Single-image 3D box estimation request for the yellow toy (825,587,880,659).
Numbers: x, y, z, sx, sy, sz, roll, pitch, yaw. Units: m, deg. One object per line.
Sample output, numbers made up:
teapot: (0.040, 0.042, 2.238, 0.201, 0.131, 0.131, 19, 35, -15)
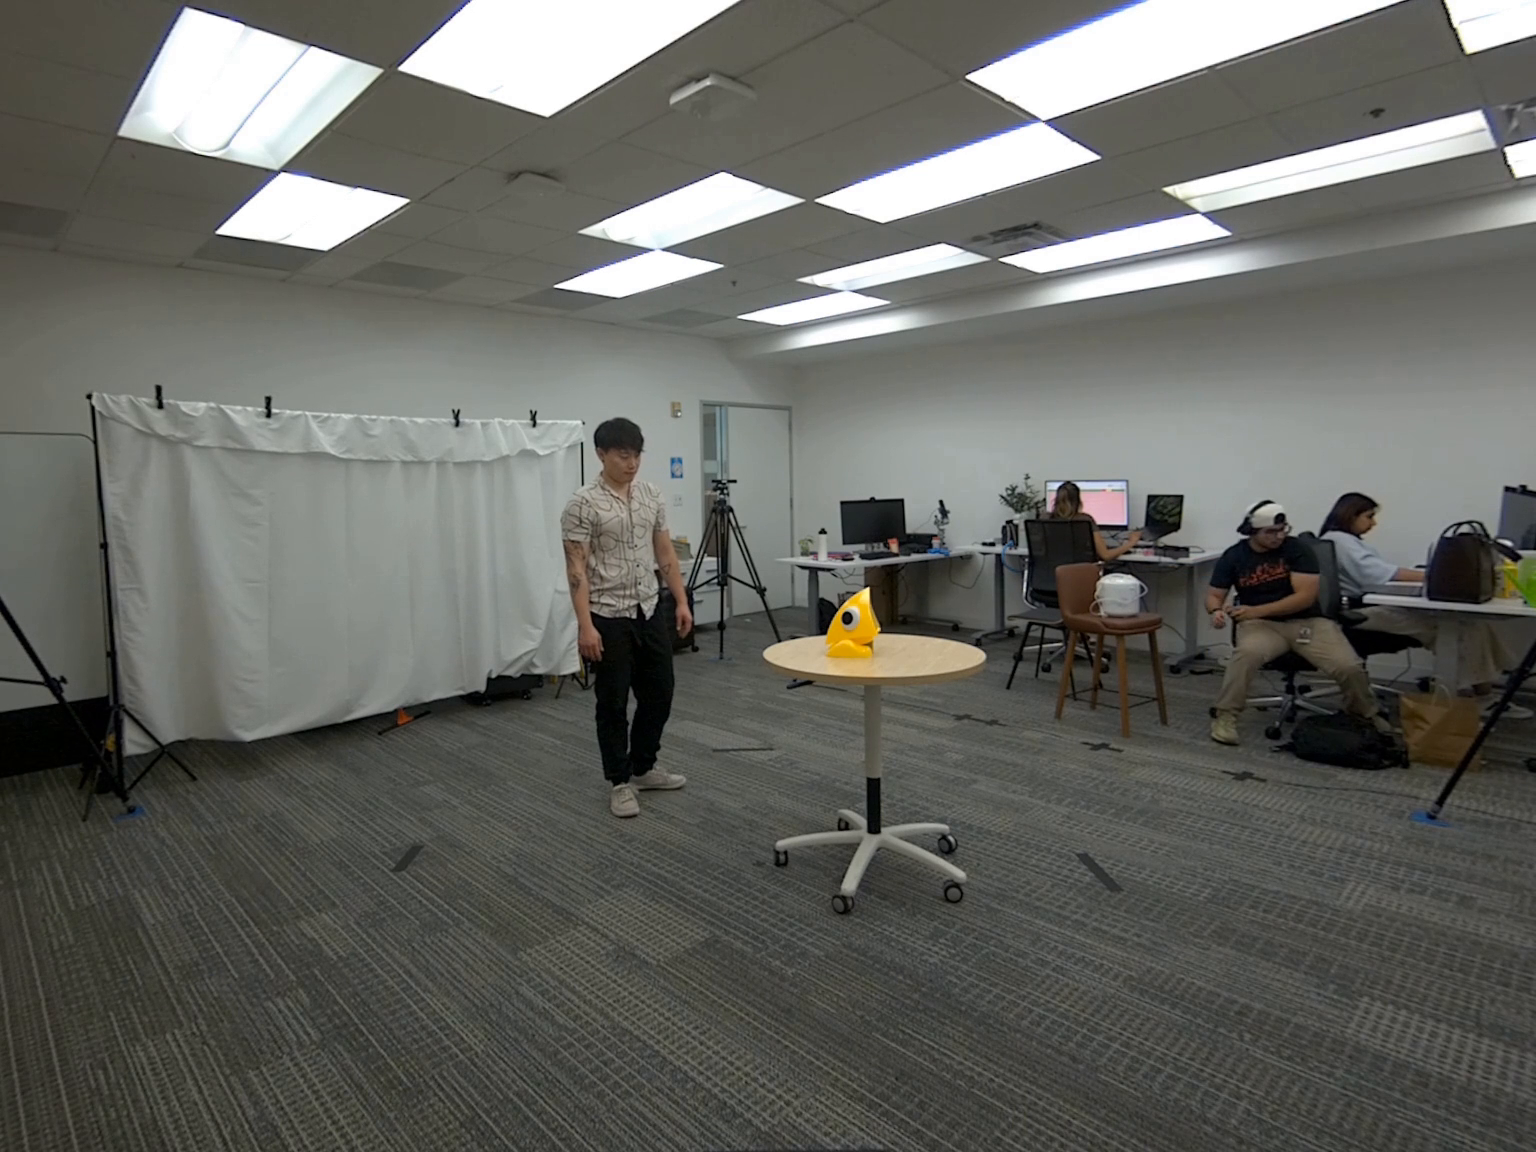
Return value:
yellow toy: (0.302, 0.156, 3.010, 0.195, 0.230, 0.203, -1, 4, 10)
